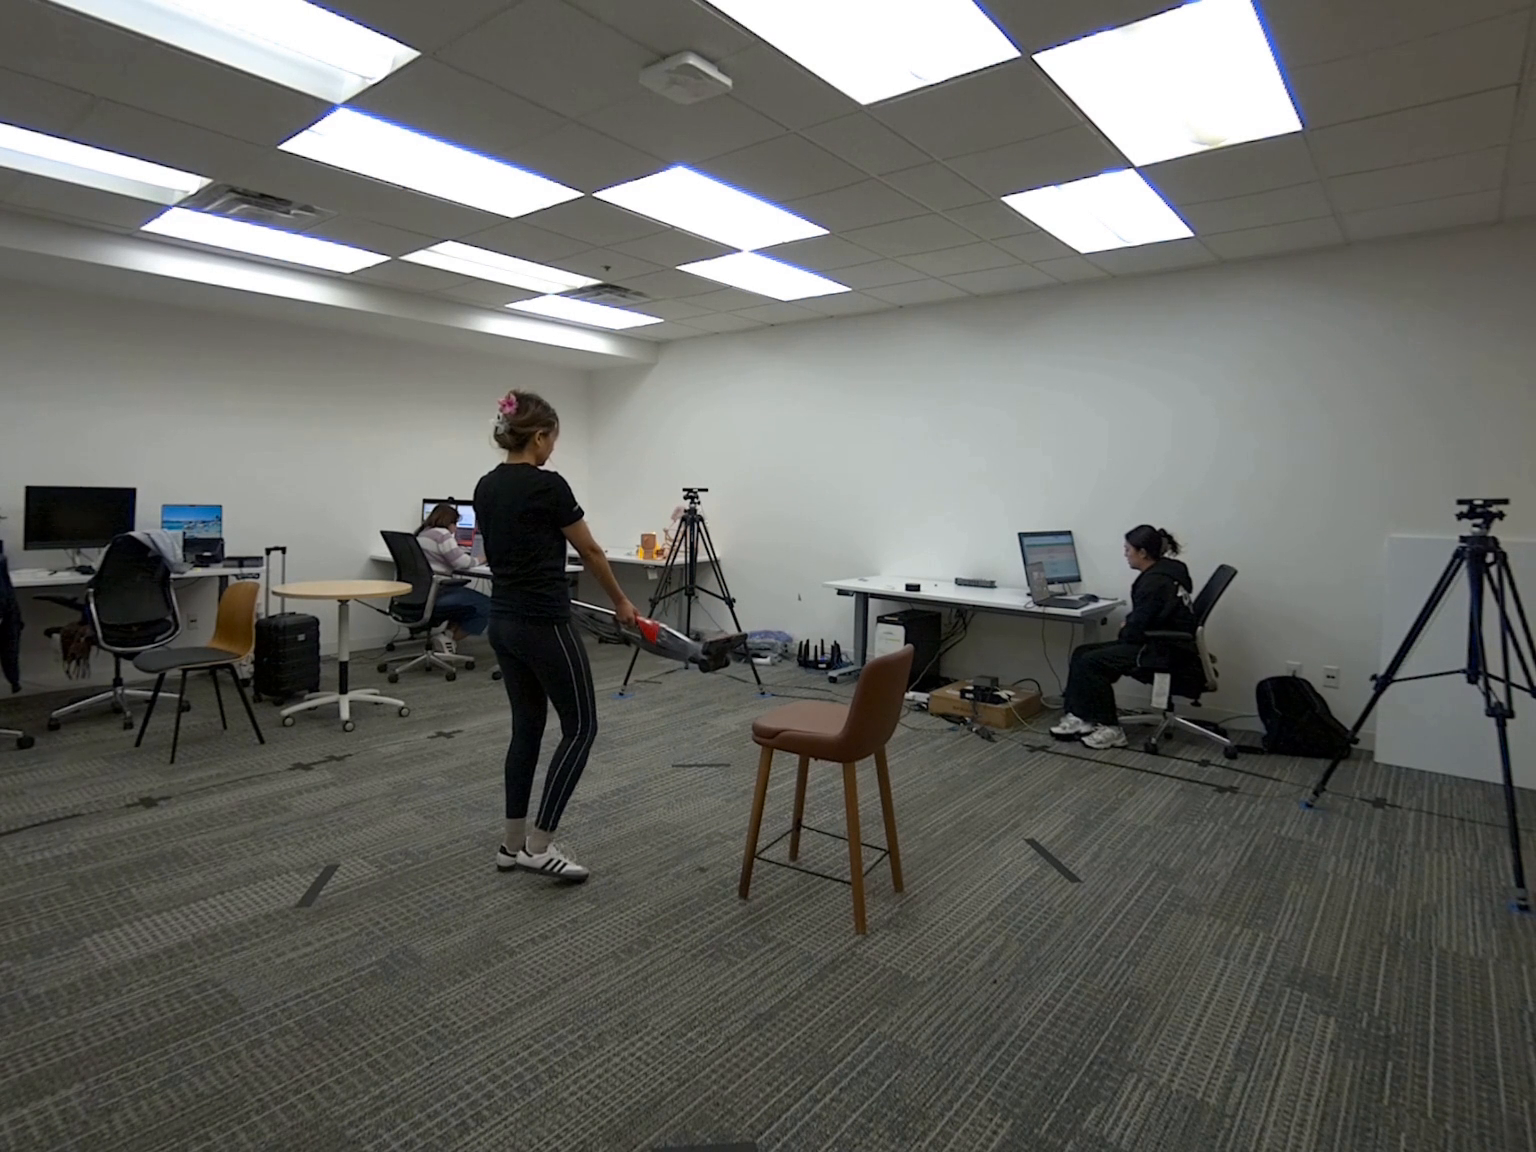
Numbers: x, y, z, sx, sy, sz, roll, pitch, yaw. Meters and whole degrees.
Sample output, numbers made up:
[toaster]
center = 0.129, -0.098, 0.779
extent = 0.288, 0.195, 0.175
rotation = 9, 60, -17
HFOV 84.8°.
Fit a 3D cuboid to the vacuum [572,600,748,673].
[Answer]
[vacuum]
center = -0.611, 0.207, 3.346
extent = 1.086, 0.143, 0.245
rotation = 11, 8, 35
